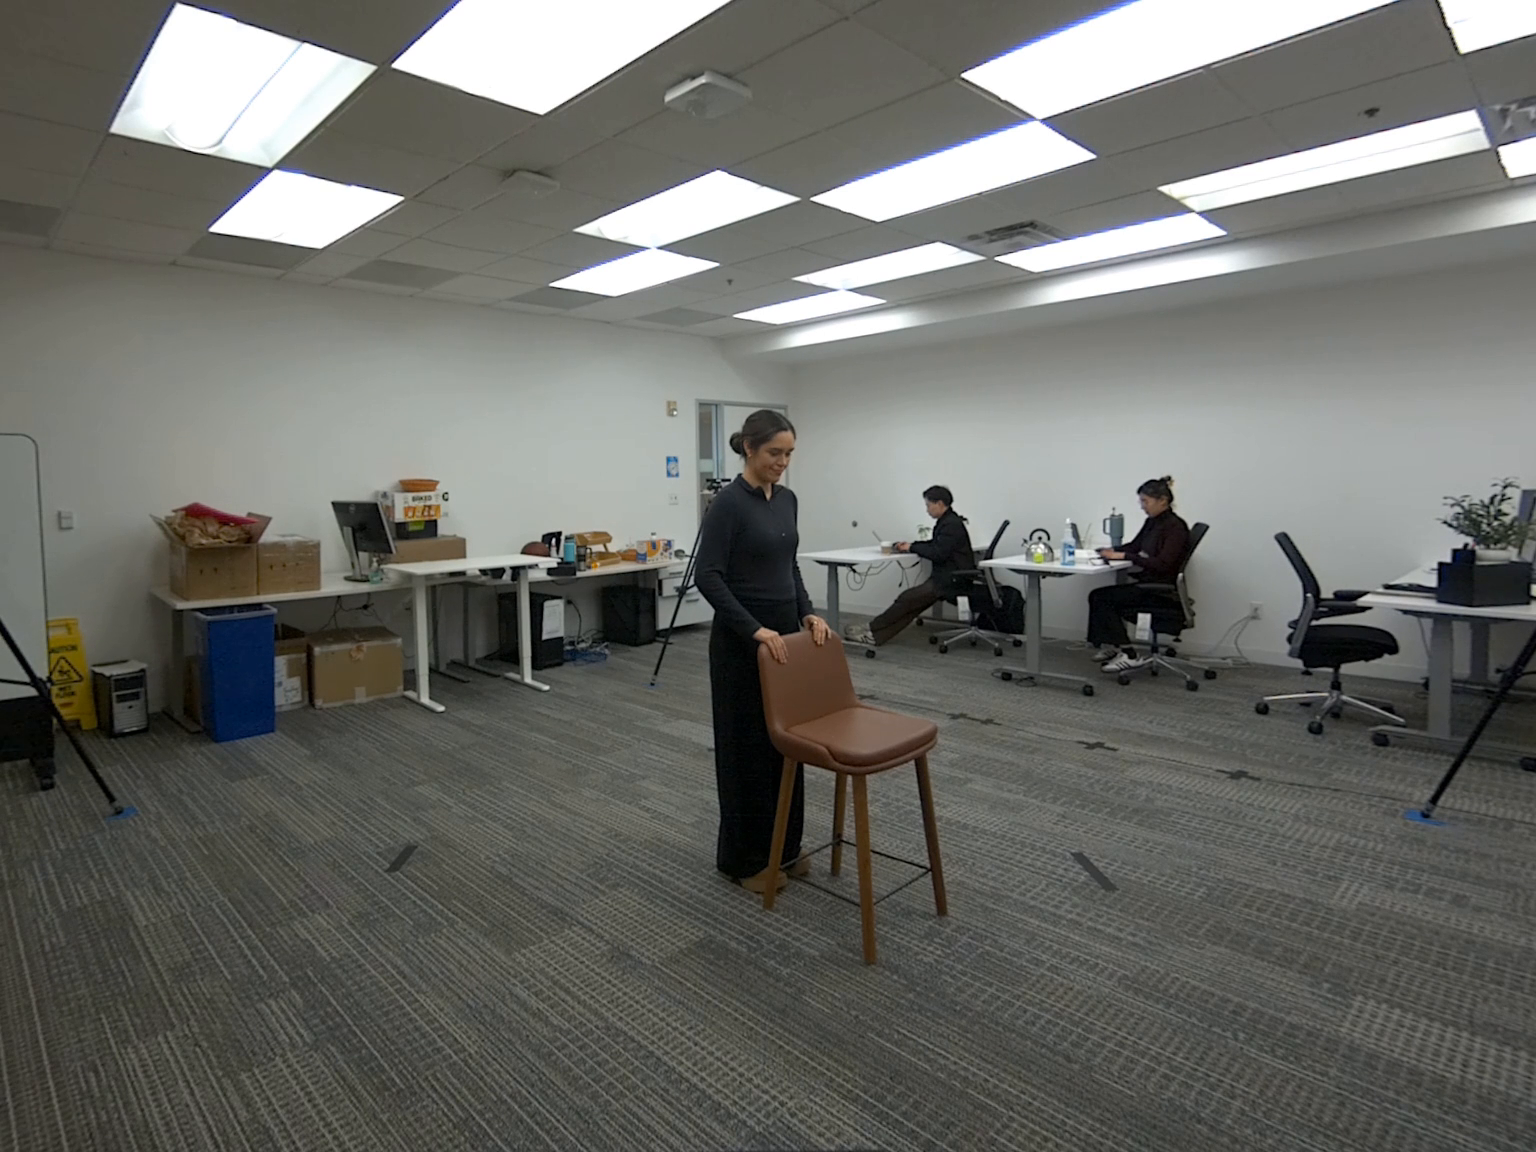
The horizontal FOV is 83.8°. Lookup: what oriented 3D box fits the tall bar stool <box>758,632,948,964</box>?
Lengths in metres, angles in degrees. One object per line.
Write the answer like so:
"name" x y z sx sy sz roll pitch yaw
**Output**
"tall bar stool" 0.262 0.644 2.721 0.444 0.888 0.481 -5 3 -44
